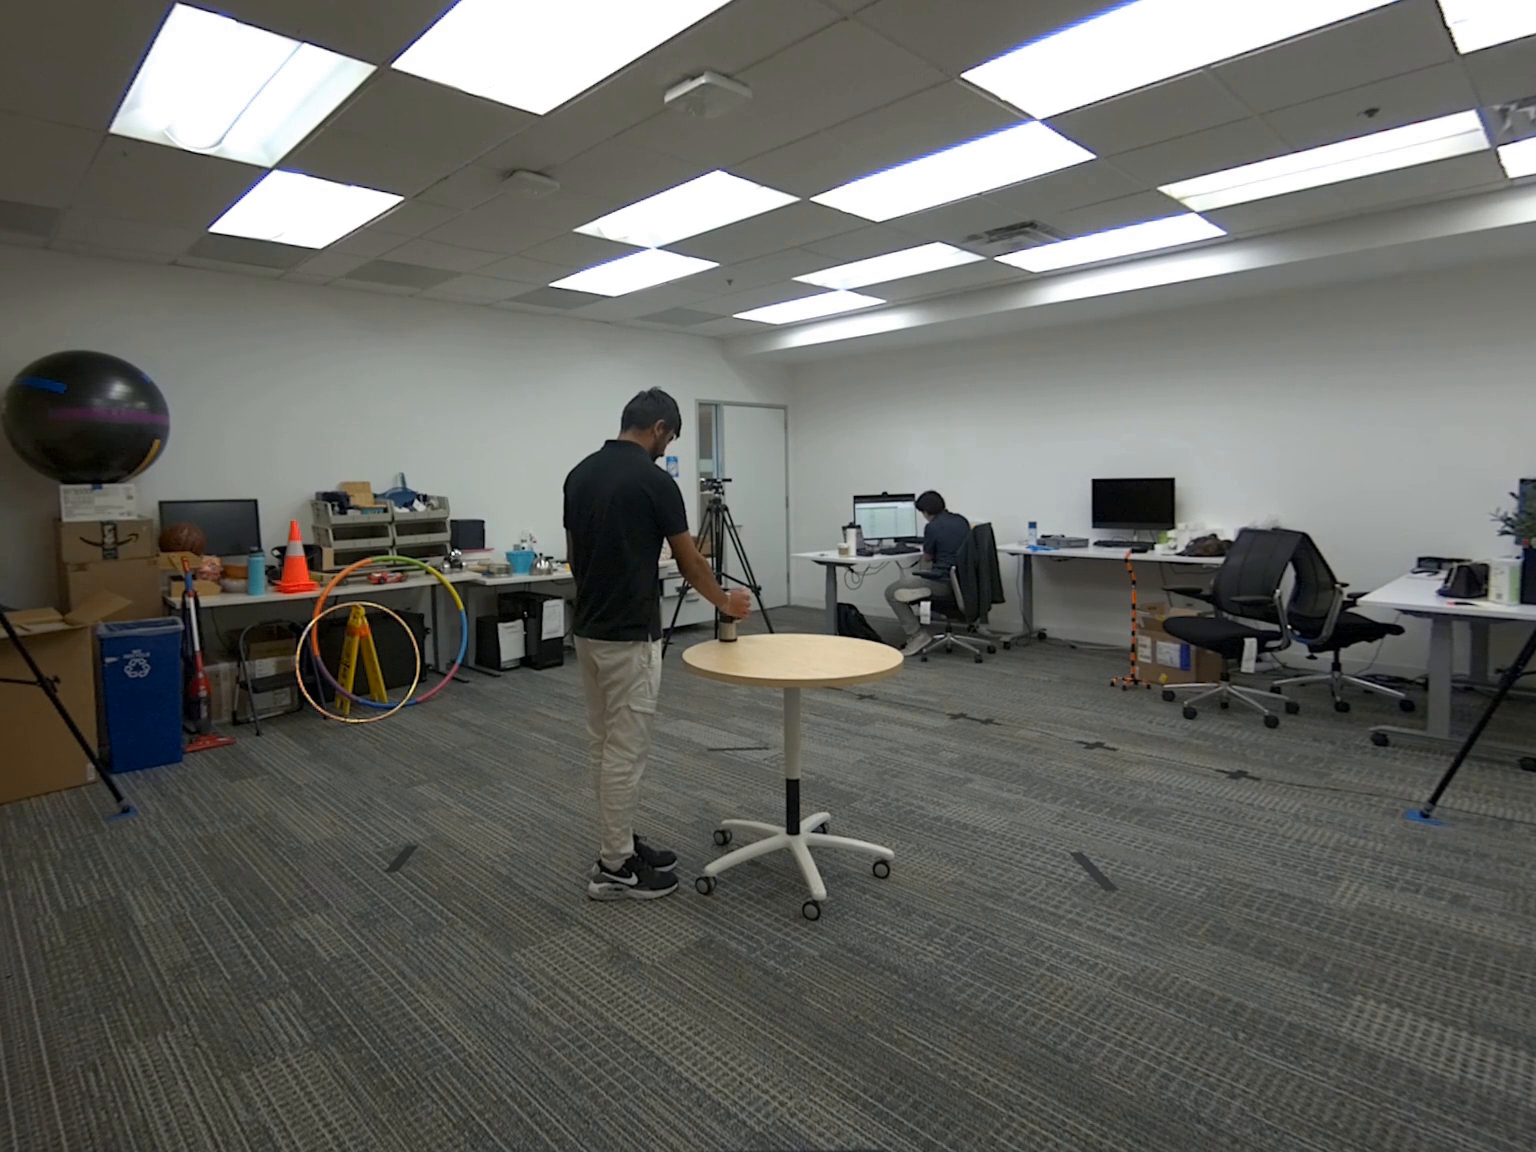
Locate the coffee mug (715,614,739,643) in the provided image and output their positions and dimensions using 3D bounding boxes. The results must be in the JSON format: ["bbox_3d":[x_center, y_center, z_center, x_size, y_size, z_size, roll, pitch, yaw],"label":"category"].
[{"bbox_3d":[-0.152,0.151,3.212,0.090,0.202,0.119,7,5,25],"label":"coffee mug"}]
